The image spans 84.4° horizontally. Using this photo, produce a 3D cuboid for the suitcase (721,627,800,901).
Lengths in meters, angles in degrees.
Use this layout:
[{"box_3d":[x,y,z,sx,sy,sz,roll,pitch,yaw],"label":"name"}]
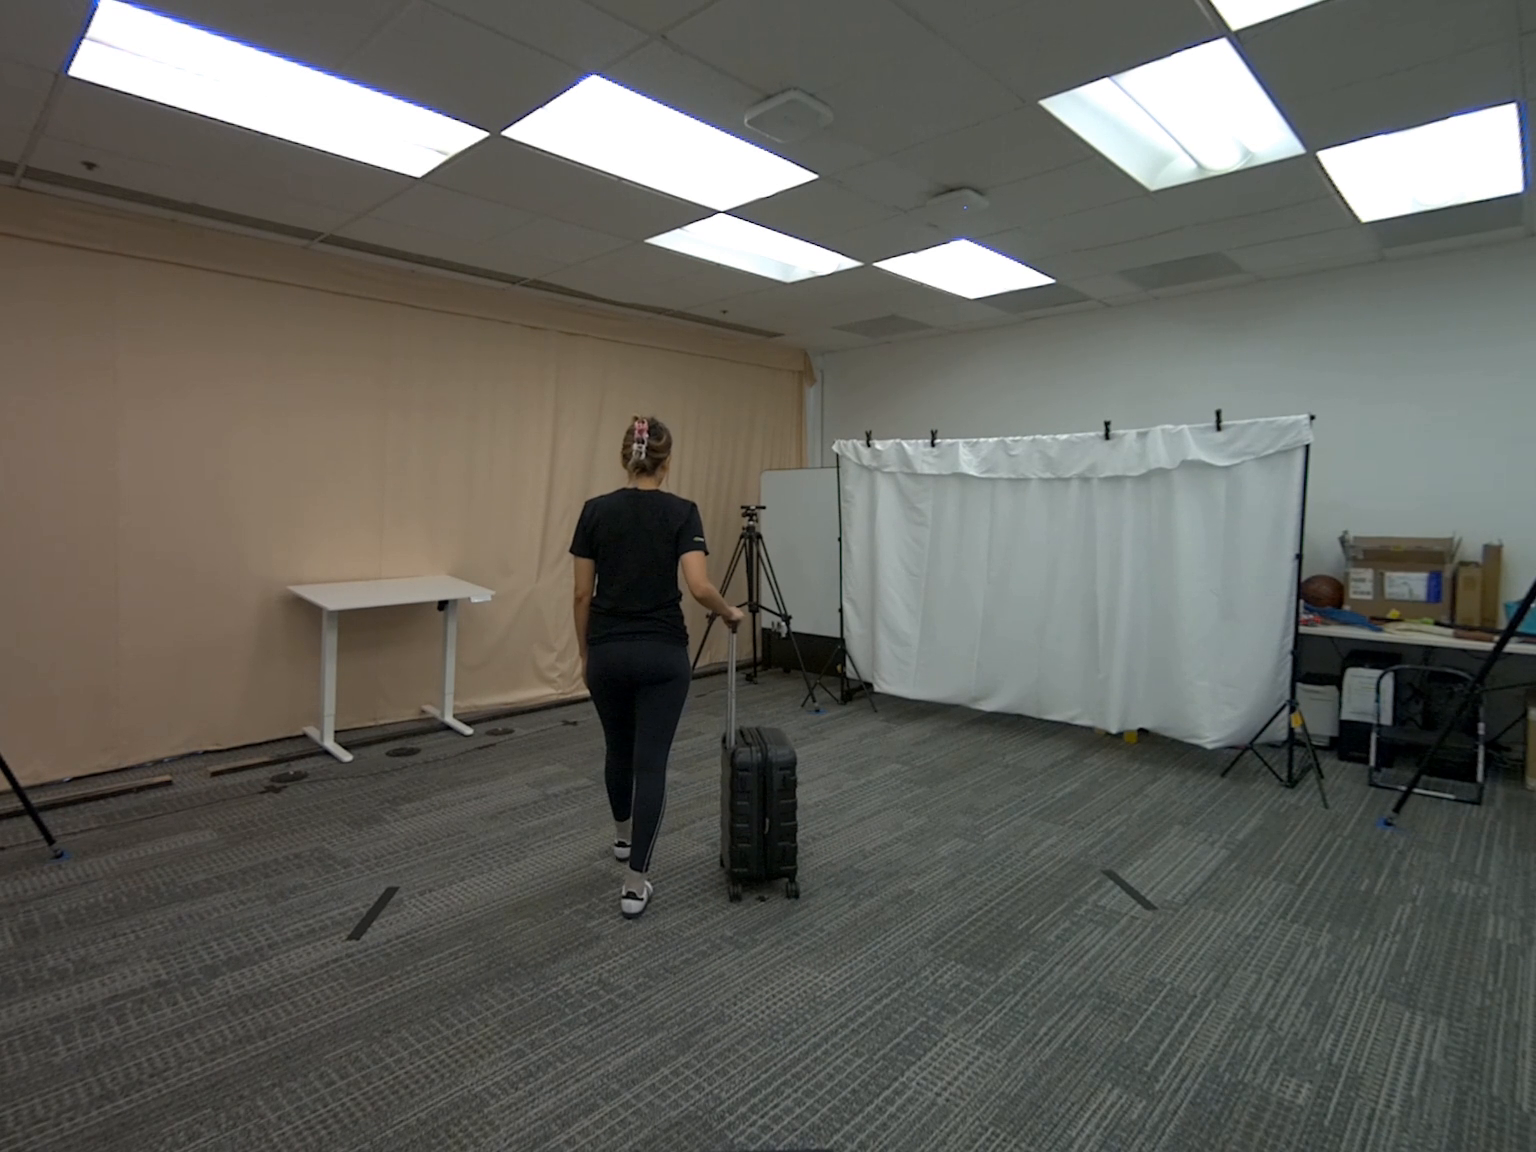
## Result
[{"box_3d":[-0.028,0.658,3.128,0.255,0.977,0.387,3,2,-7],"label":"suitcase"}]
